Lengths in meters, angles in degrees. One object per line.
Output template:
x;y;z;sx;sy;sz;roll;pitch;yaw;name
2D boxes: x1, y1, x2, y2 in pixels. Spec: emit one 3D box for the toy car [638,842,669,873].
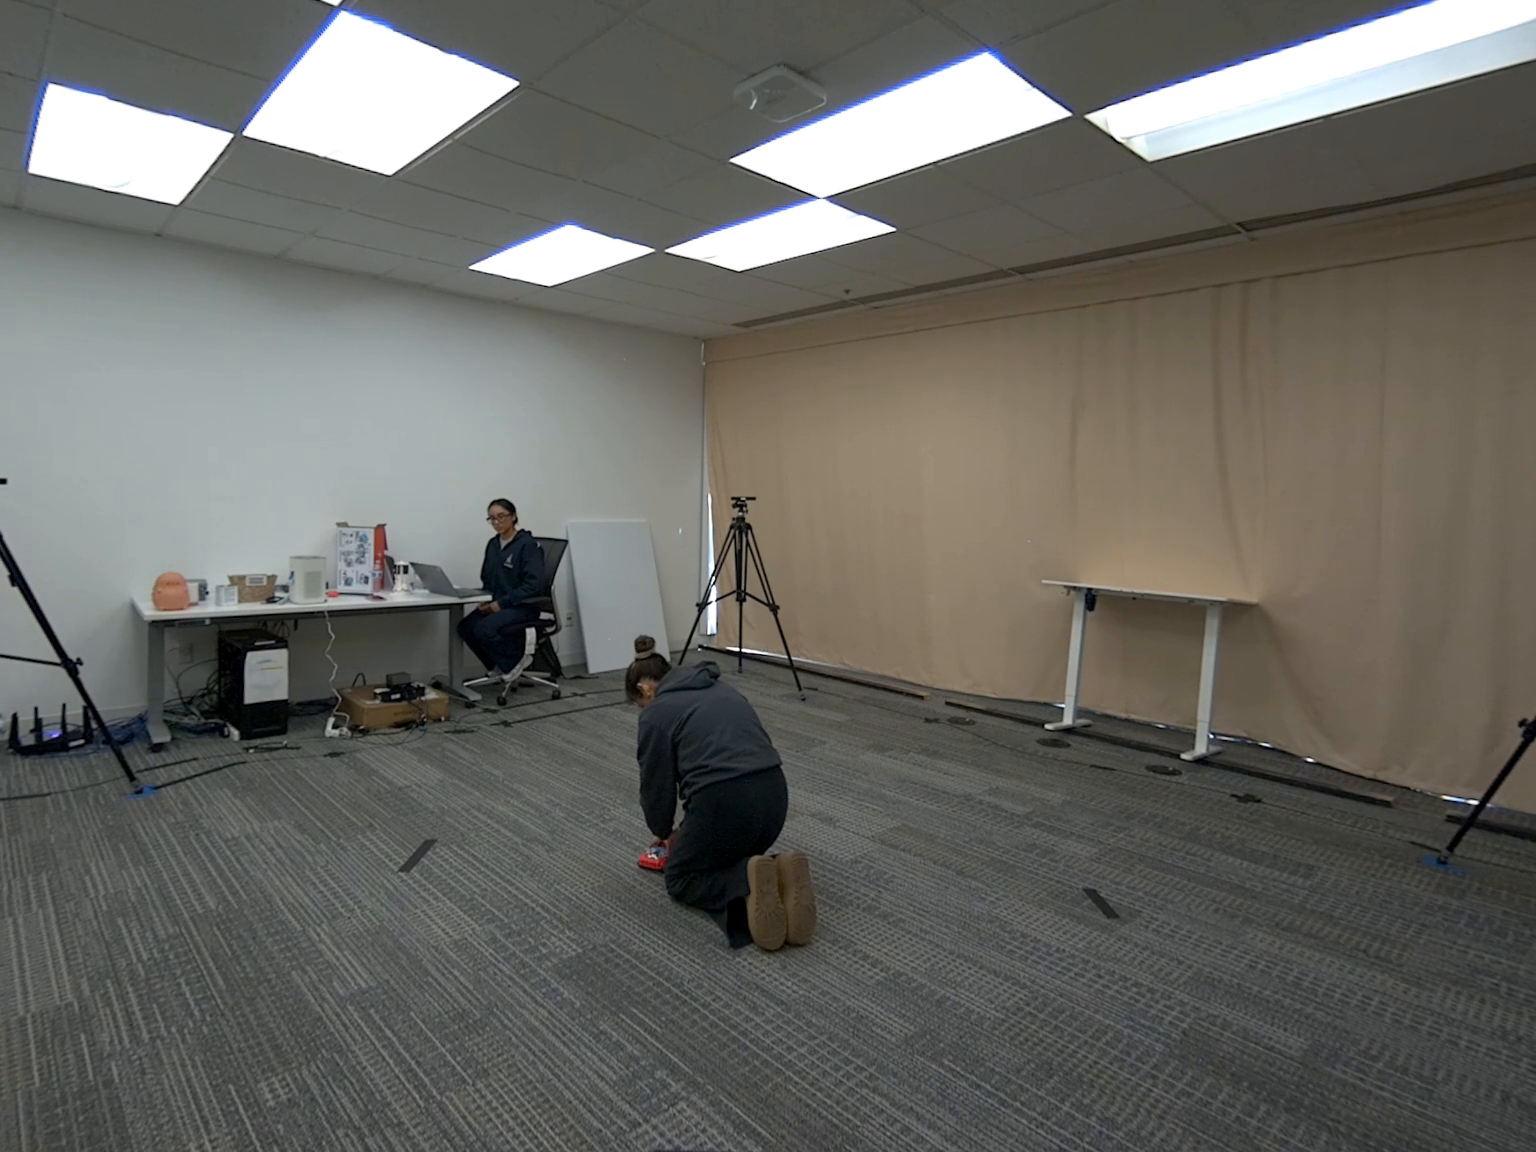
-0.399;1.056;3.238;0.132;0.082;0.253;3;17;21;toy car
